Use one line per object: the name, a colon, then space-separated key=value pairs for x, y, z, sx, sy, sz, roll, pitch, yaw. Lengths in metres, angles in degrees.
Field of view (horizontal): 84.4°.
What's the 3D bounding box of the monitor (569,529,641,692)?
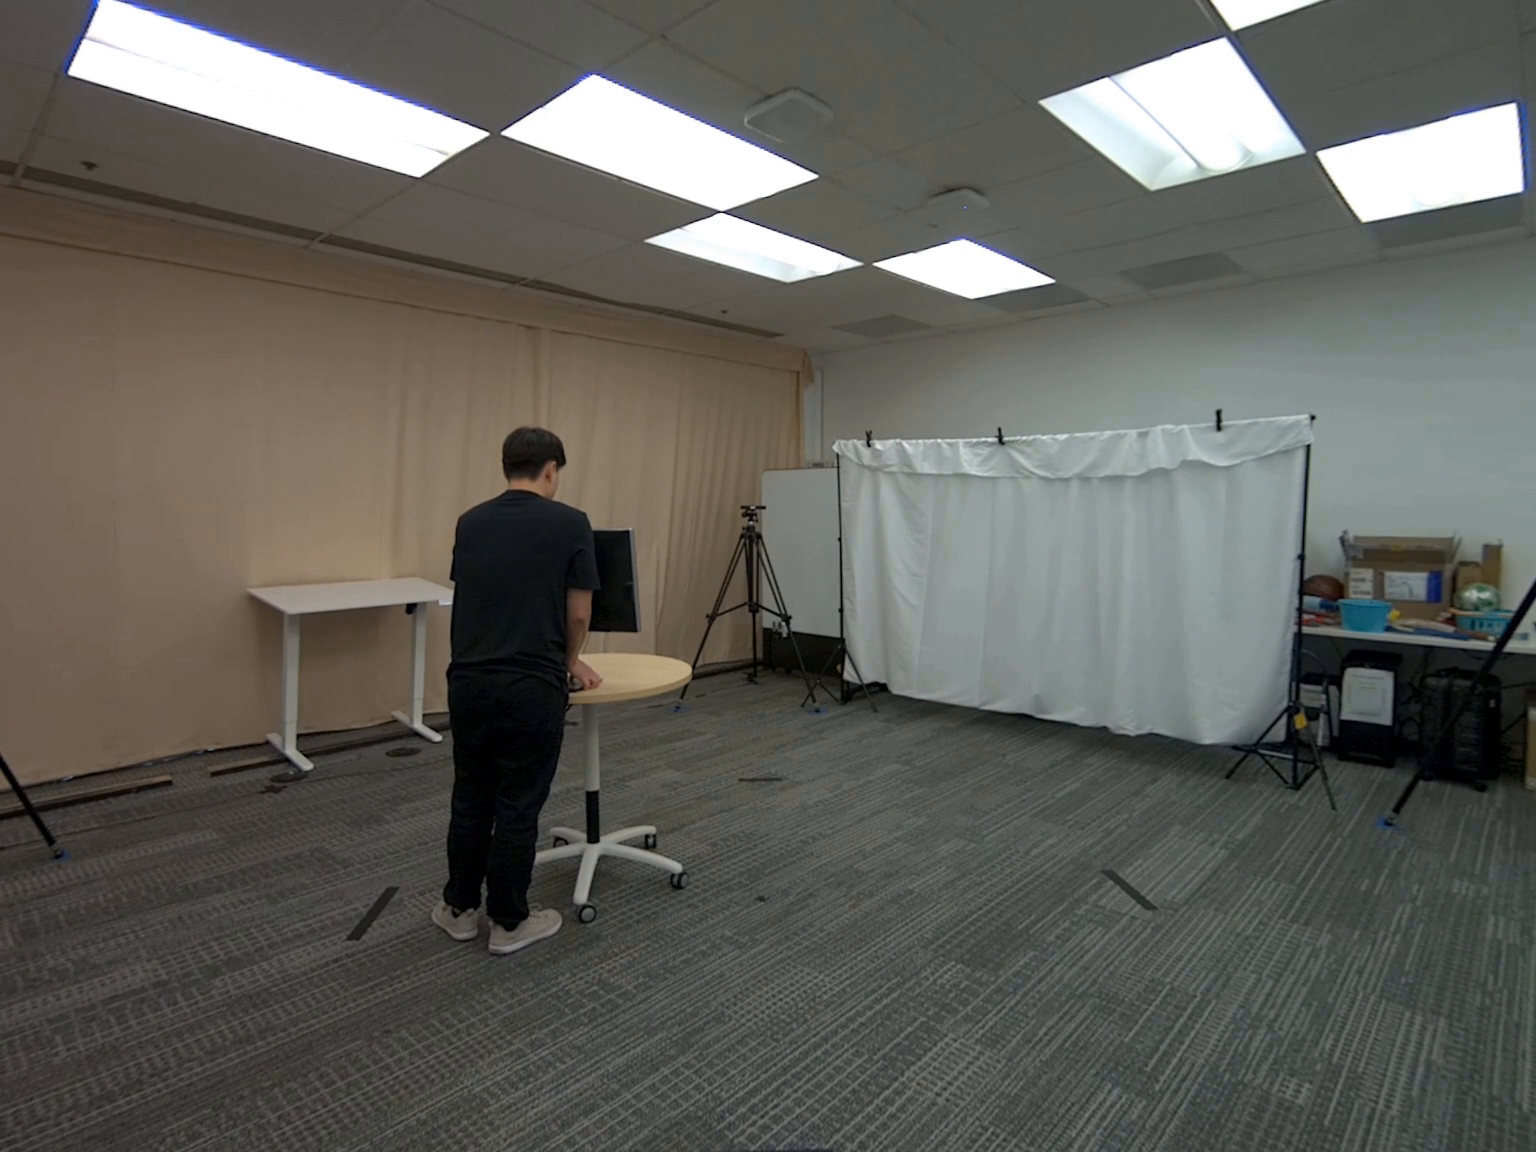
monitor: x=-0.719 y=0.104 z=2.901 sx=0.549 sy=0.523 sz=0.184 roll=0 pitch=-1 yaw=17
